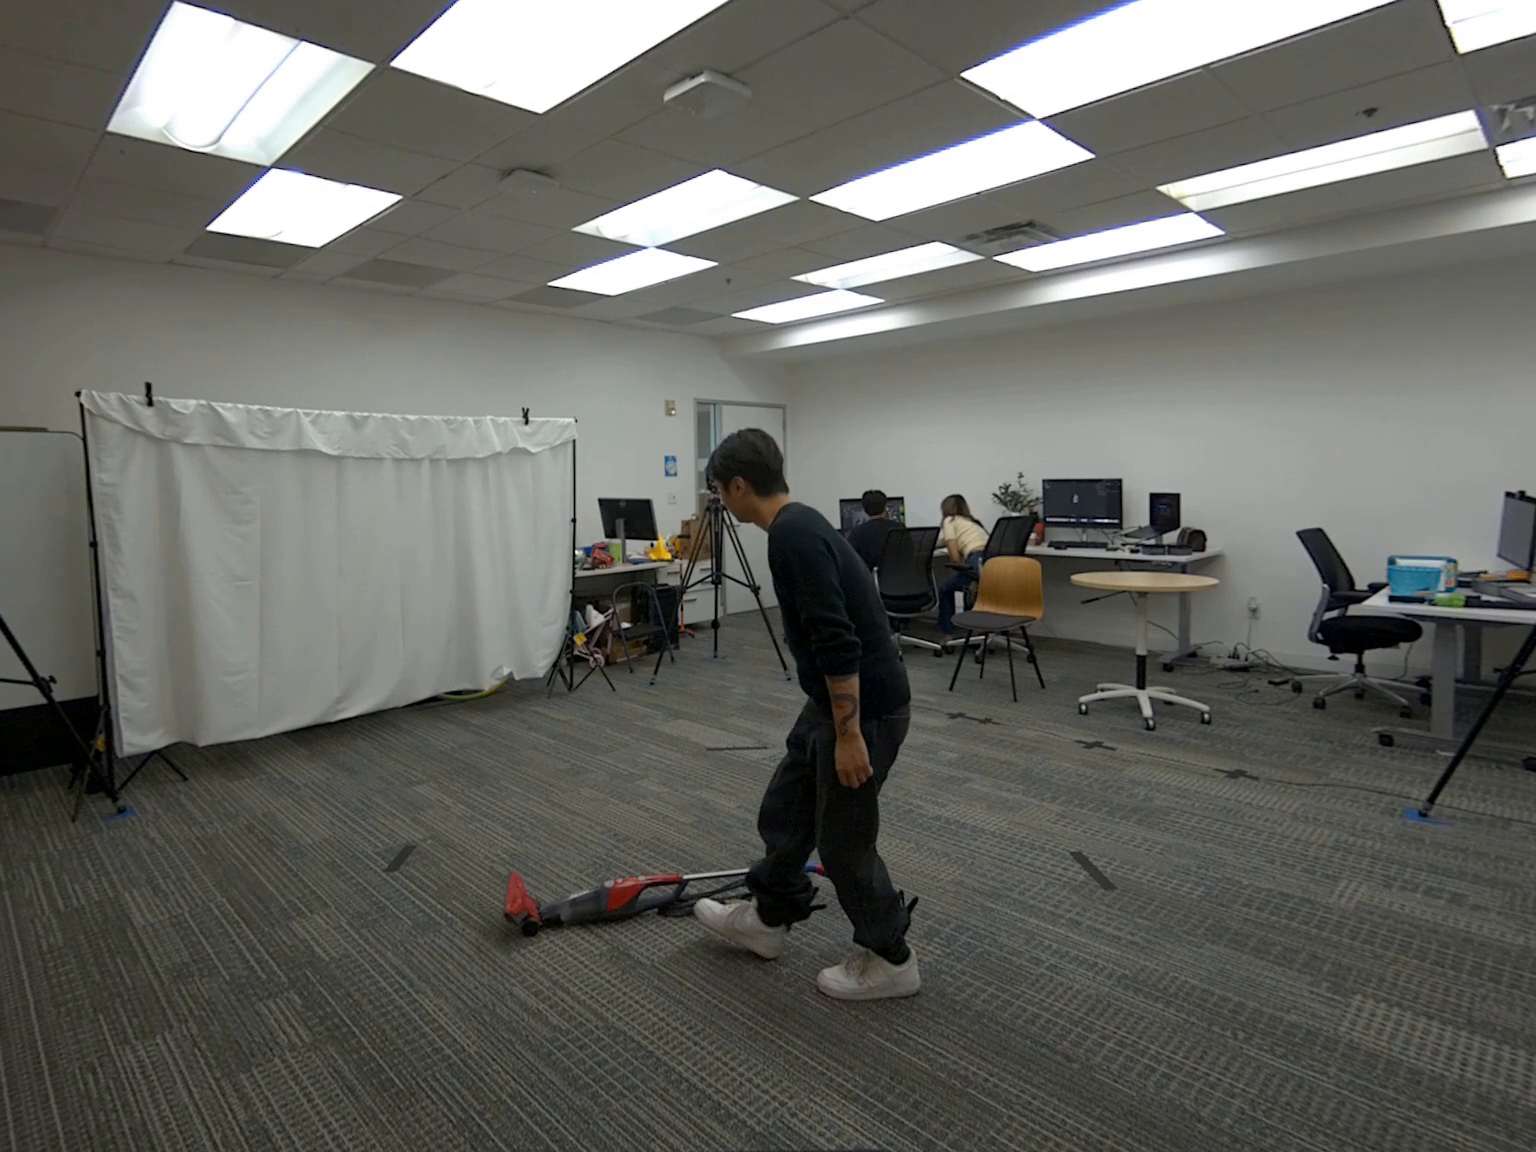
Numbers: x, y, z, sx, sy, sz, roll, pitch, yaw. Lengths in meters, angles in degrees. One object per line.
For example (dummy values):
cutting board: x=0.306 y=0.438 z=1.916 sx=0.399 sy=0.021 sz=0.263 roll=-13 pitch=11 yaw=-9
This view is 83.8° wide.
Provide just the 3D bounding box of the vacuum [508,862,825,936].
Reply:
vacuum: x=-0.268 y=1.022 z=2.772 sx=1.038 sy=0.142 sz=0.258 roll=-2 pitch=12 yaw=-11
